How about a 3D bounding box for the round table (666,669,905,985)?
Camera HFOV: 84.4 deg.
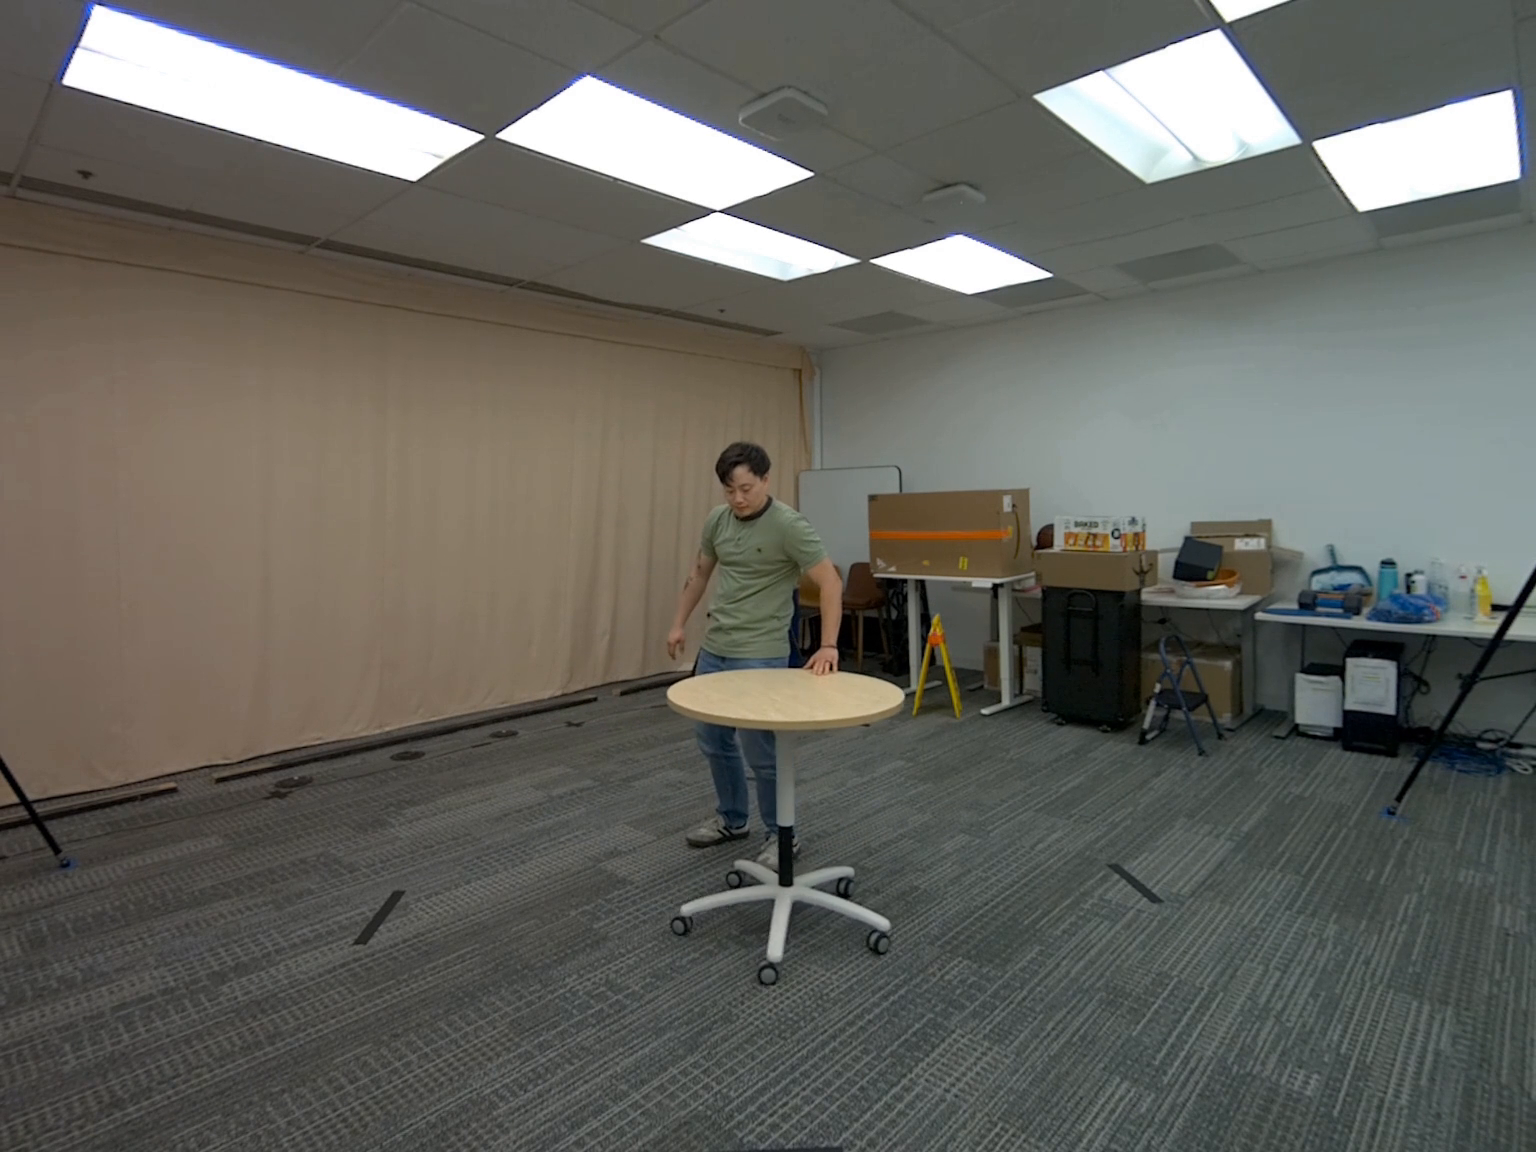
[{"bbox_3d":[0.060,0.766,2.769,0.763,0.792,0.767,0,4,-2],"label":"round table"}]
